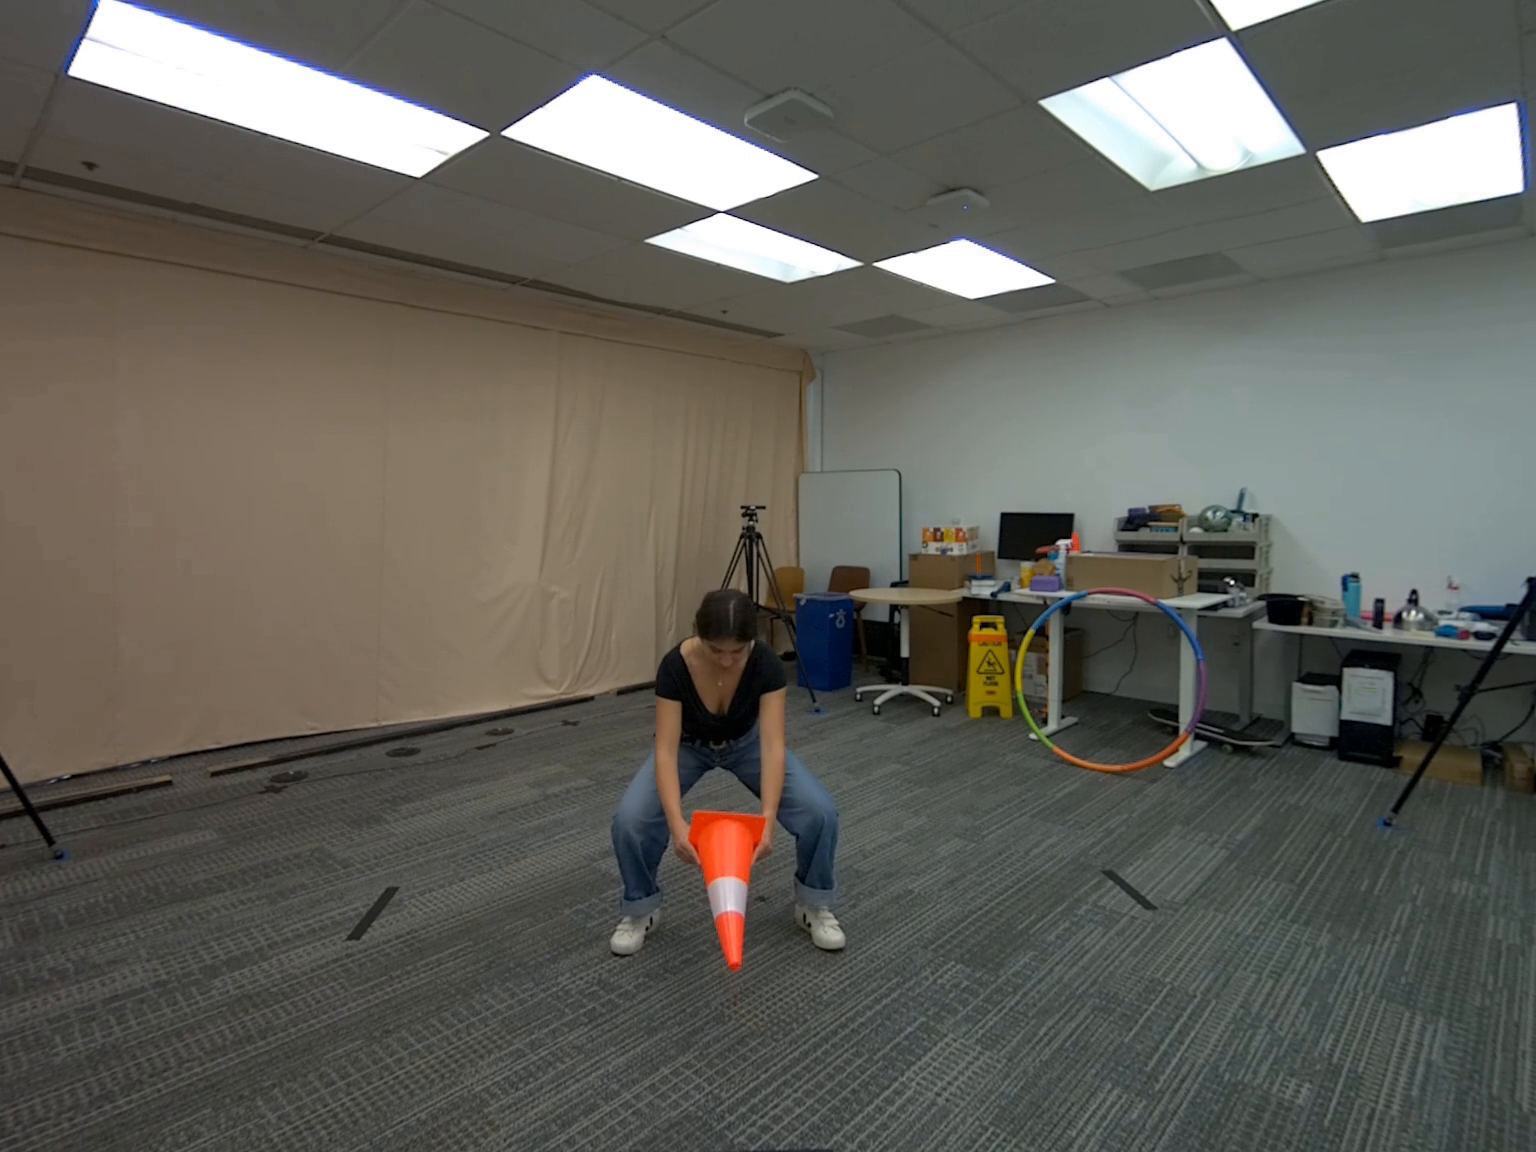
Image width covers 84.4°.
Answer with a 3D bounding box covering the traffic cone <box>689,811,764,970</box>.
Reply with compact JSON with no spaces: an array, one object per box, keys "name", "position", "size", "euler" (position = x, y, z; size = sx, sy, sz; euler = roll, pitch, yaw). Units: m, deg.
[{"name":"traffic cone","position":[-0.094,0.800,2.129],"size":[0.203,0.201,0.392],"euler":[-9,30,-3]}]
